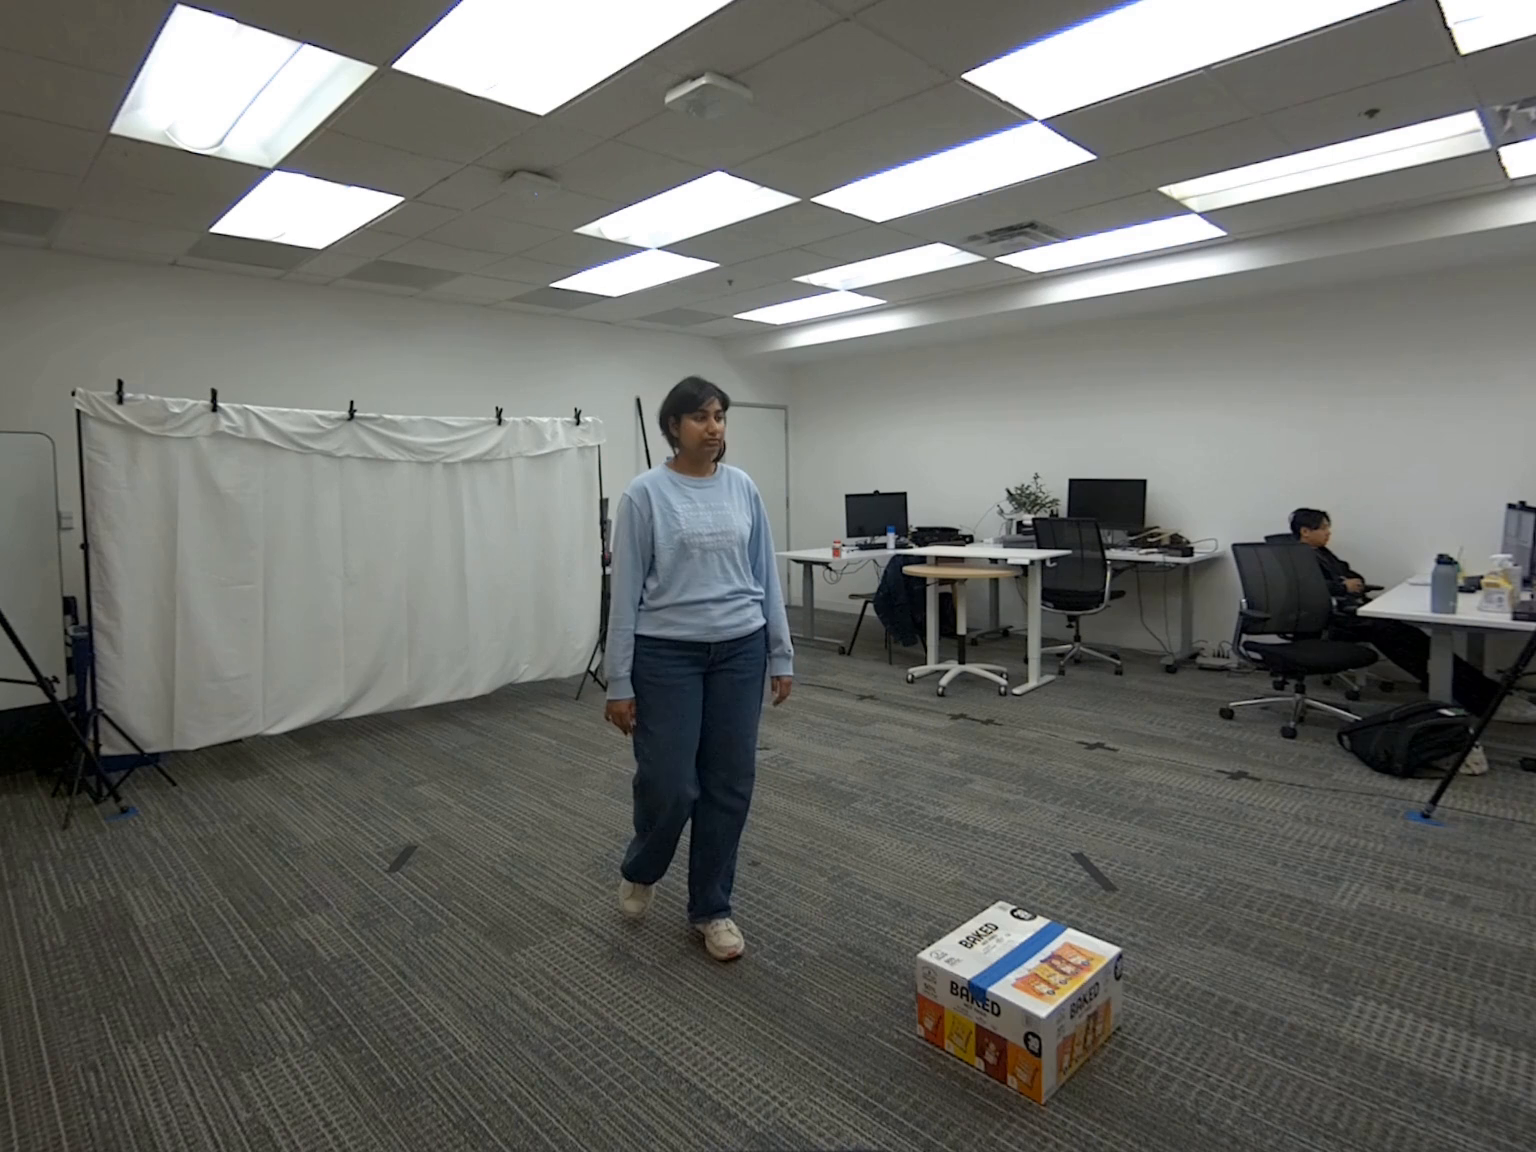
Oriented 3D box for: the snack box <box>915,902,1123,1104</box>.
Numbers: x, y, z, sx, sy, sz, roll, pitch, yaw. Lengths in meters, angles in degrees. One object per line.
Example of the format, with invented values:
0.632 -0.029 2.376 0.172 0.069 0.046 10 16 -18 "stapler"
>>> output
0.639 1.045 2.138 0.394 0.205 0.351 -7 8 -43 "snack box"
